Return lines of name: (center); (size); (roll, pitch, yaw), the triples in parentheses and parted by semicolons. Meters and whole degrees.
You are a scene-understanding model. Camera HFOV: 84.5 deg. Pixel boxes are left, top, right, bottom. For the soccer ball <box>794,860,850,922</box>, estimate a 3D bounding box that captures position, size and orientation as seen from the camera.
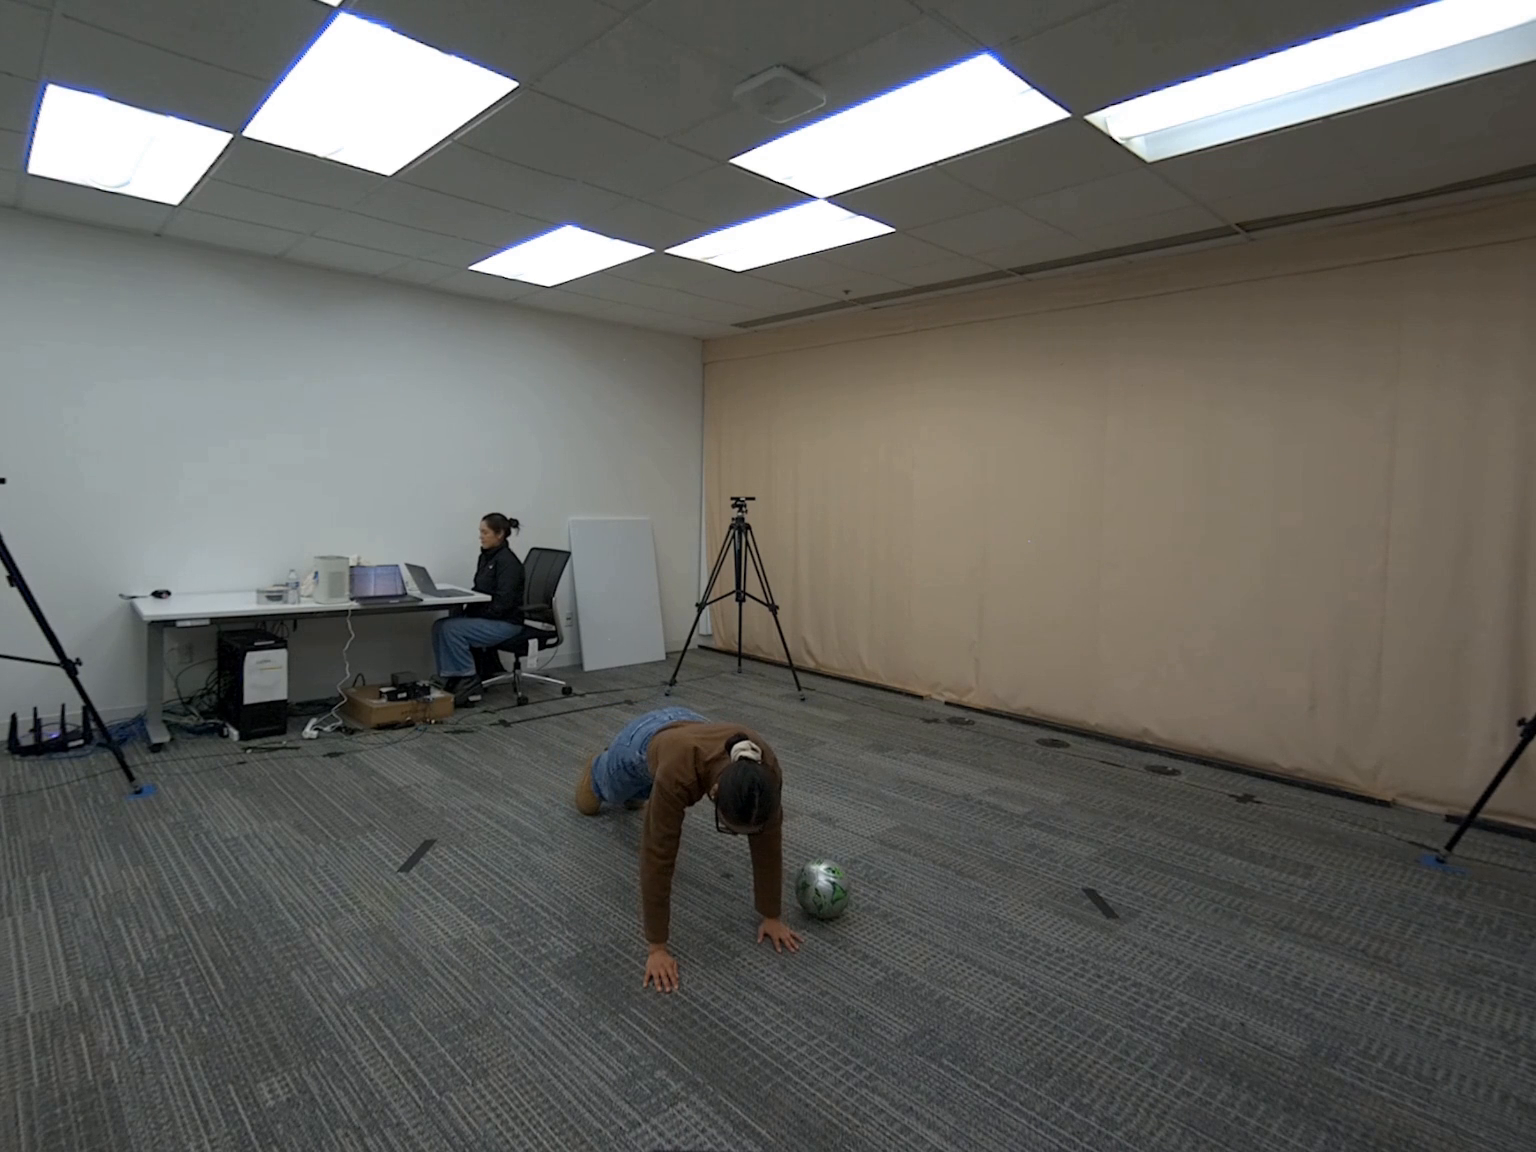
soccer ball: (0.179, 1.044, 2.816); (0.187, 0.187, 0.188); (1, 4, -1)
